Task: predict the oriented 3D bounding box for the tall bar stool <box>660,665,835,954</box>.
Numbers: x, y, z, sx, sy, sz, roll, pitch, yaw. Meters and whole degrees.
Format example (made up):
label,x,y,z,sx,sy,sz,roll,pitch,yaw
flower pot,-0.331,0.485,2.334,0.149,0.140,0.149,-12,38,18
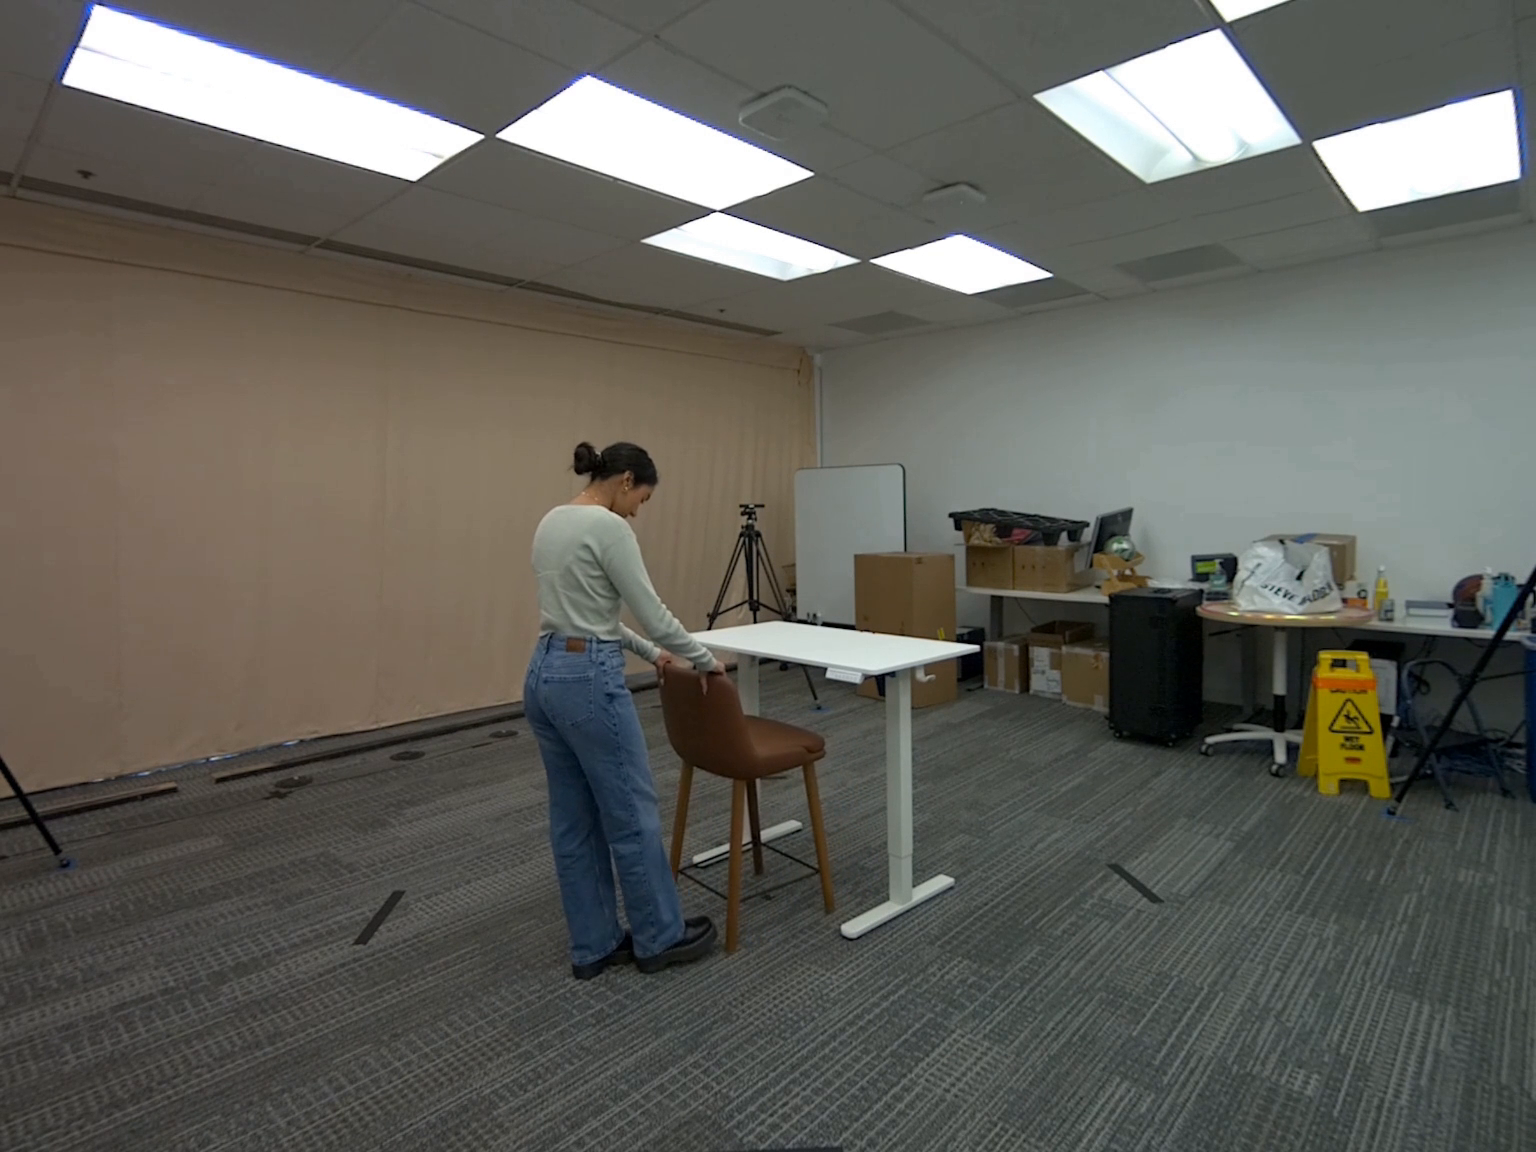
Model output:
label,x,y,z,sx,sy,sz,roll,pitch,yaw
tall bar stool,-0.085,0.713,2.859,0.454,0.886,0.471,-7,7,-38
